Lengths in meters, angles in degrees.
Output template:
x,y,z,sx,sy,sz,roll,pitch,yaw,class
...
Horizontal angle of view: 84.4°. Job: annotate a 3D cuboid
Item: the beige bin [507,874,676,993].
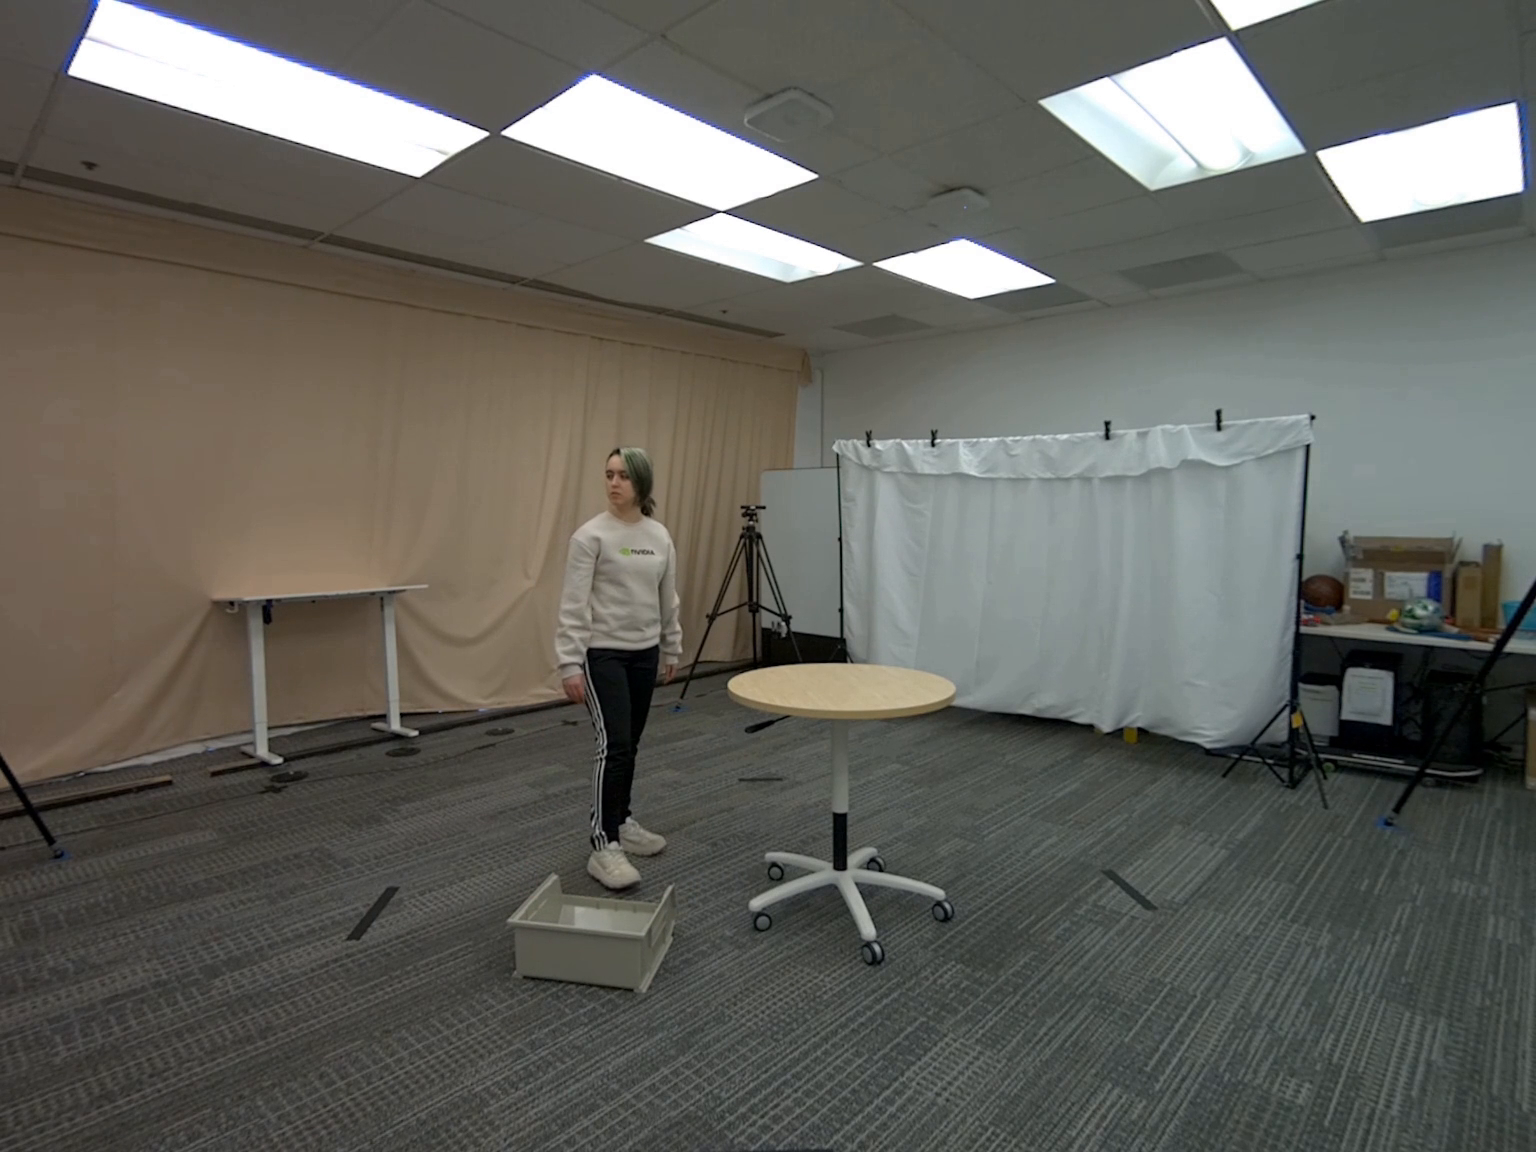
x,y,z,sx,sy,sz,roll,pitch,yaw,class
-0.529,1.093,2.605,0.428,0.188,0.374,1,5,10,beige bin
